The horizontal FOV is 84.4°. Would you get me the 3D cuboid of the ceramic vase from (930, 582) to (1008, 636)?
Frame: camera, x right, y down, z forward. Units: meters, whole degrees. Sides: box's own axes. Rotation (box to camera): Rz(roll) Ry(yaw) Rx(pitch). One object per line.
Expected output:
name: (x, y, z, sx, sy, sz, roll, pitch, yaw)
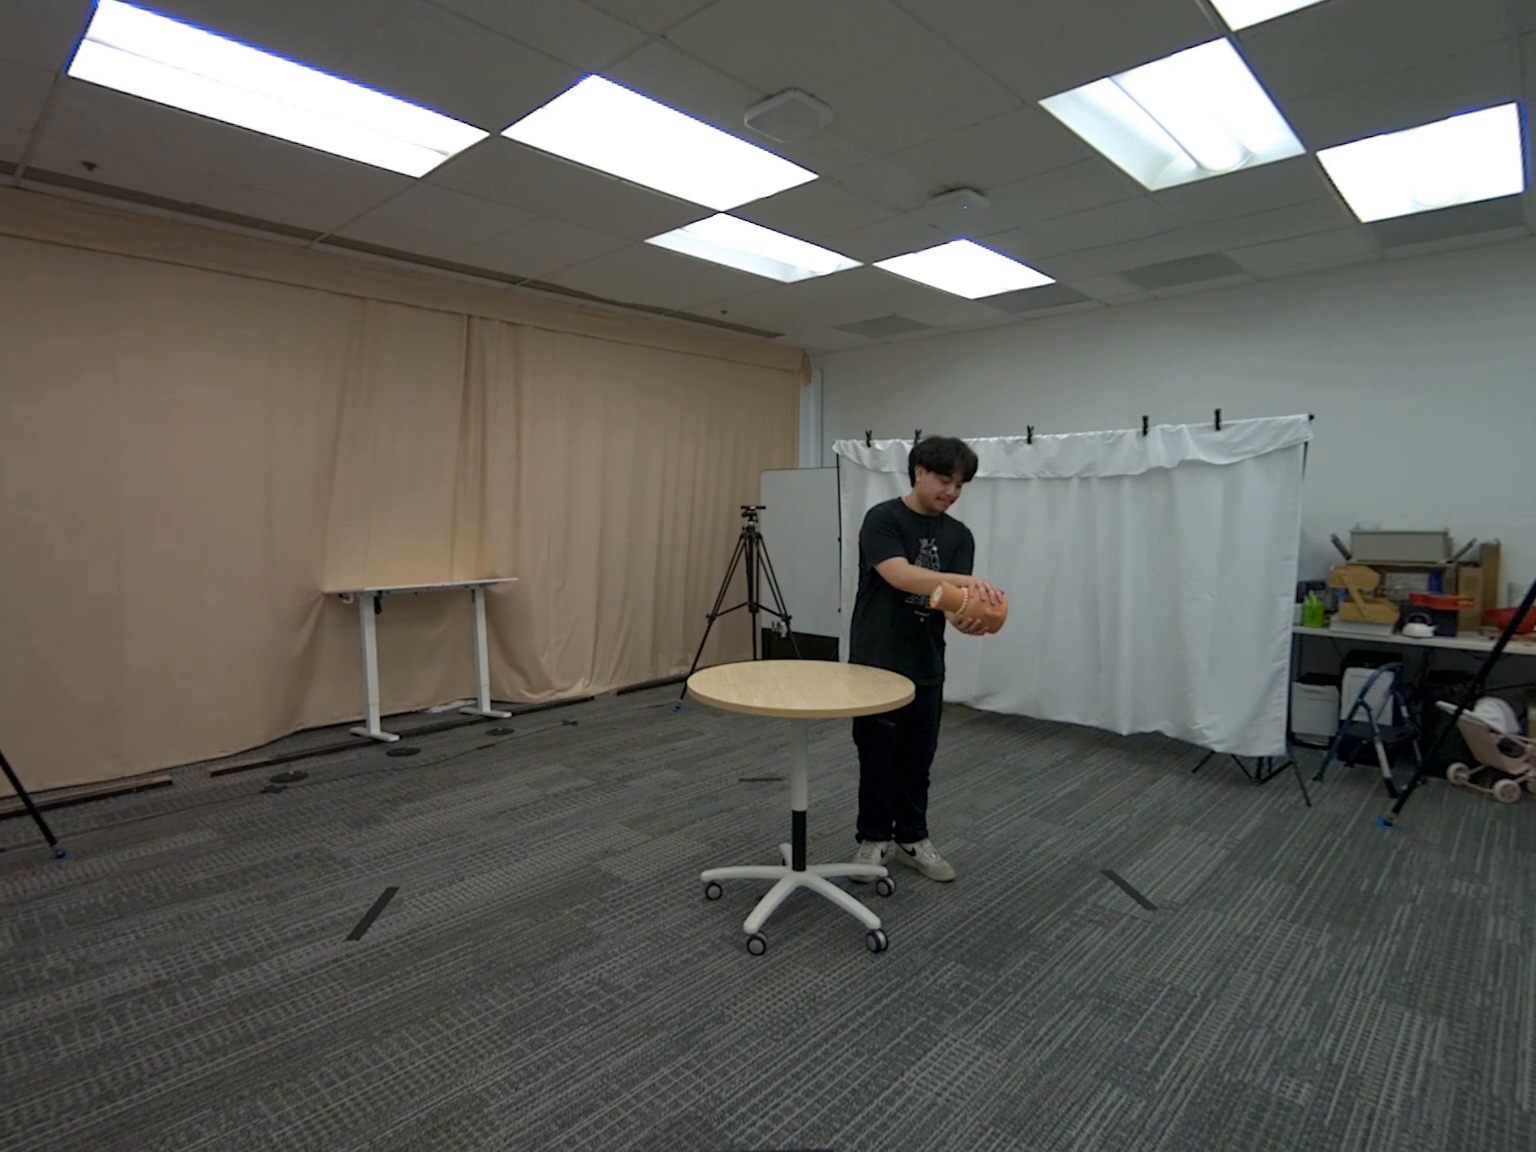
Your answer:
ceramic vase: (0.655, 0.092, 2.763, 0.218, 0.136, 0.158, 21, -35, -5)
